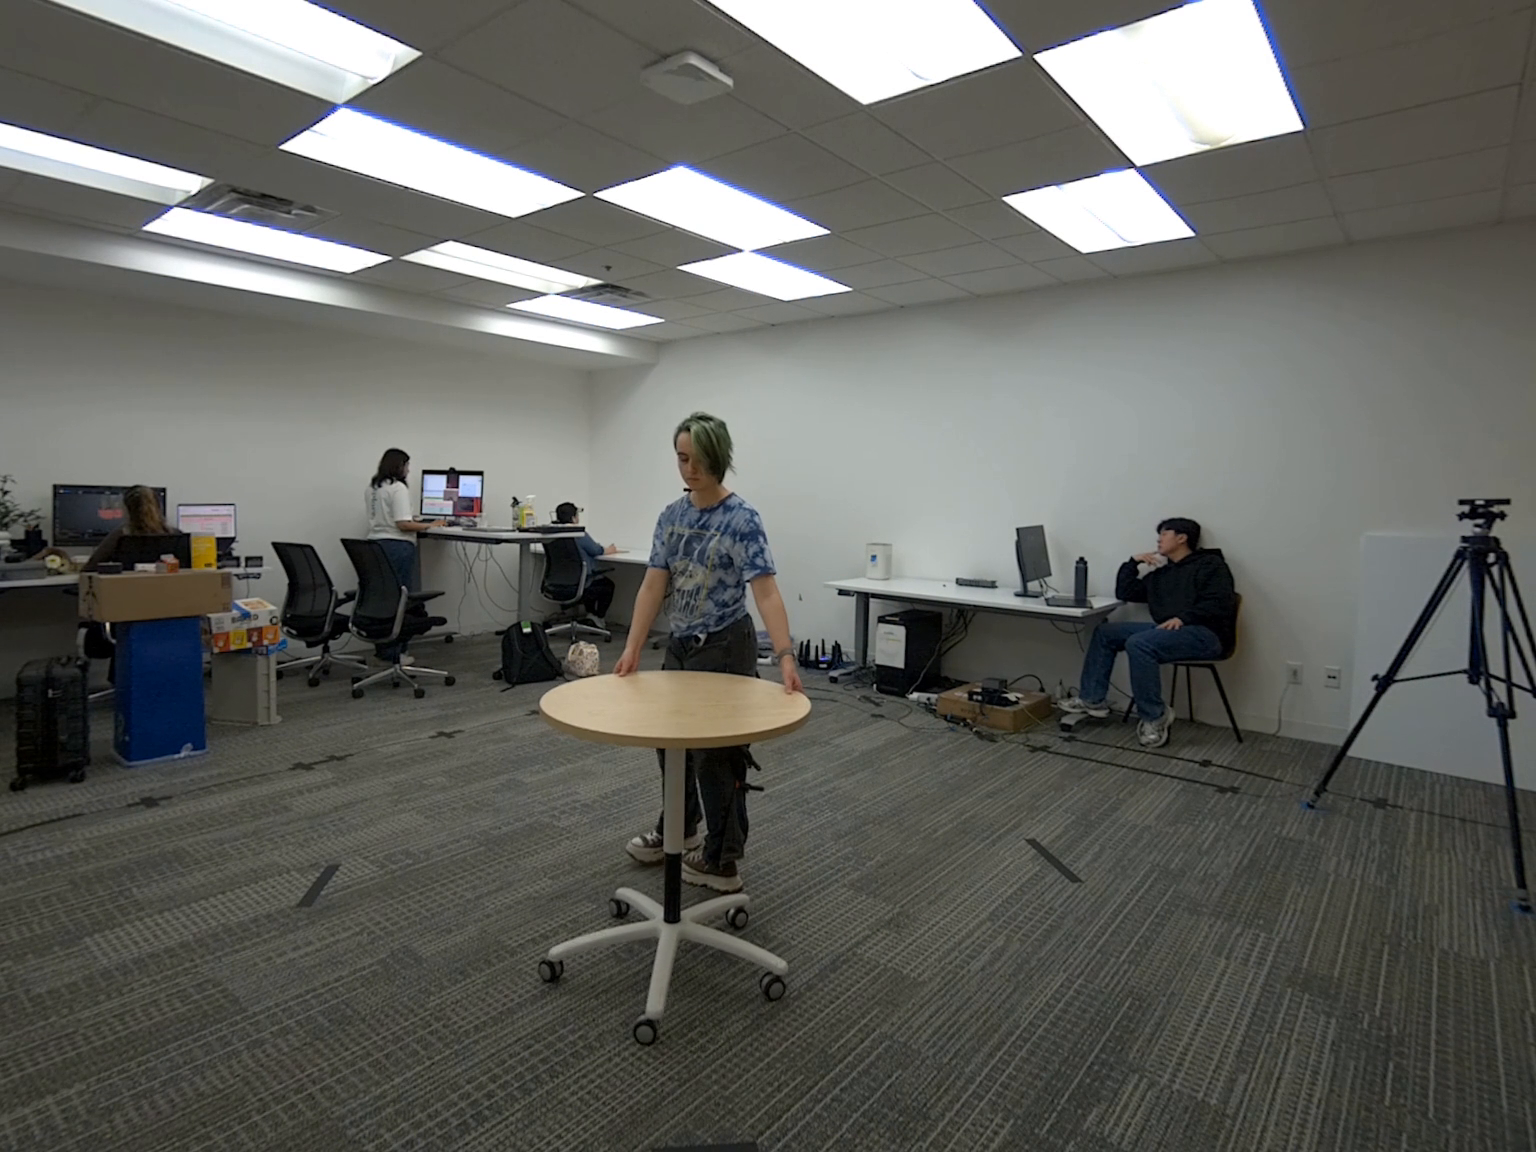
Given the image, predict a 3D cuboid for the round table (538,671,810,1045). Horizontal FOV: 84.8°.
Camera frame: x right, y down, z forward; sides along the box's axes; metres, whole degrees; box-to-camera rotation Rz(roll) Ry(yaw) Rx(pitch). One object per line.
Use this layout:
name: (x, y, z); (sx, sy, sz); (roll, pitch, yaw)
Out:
round table: (-0.286, 0.742, 2.454); (0.763, 0.791, 0.768); (1, 4, -2)
